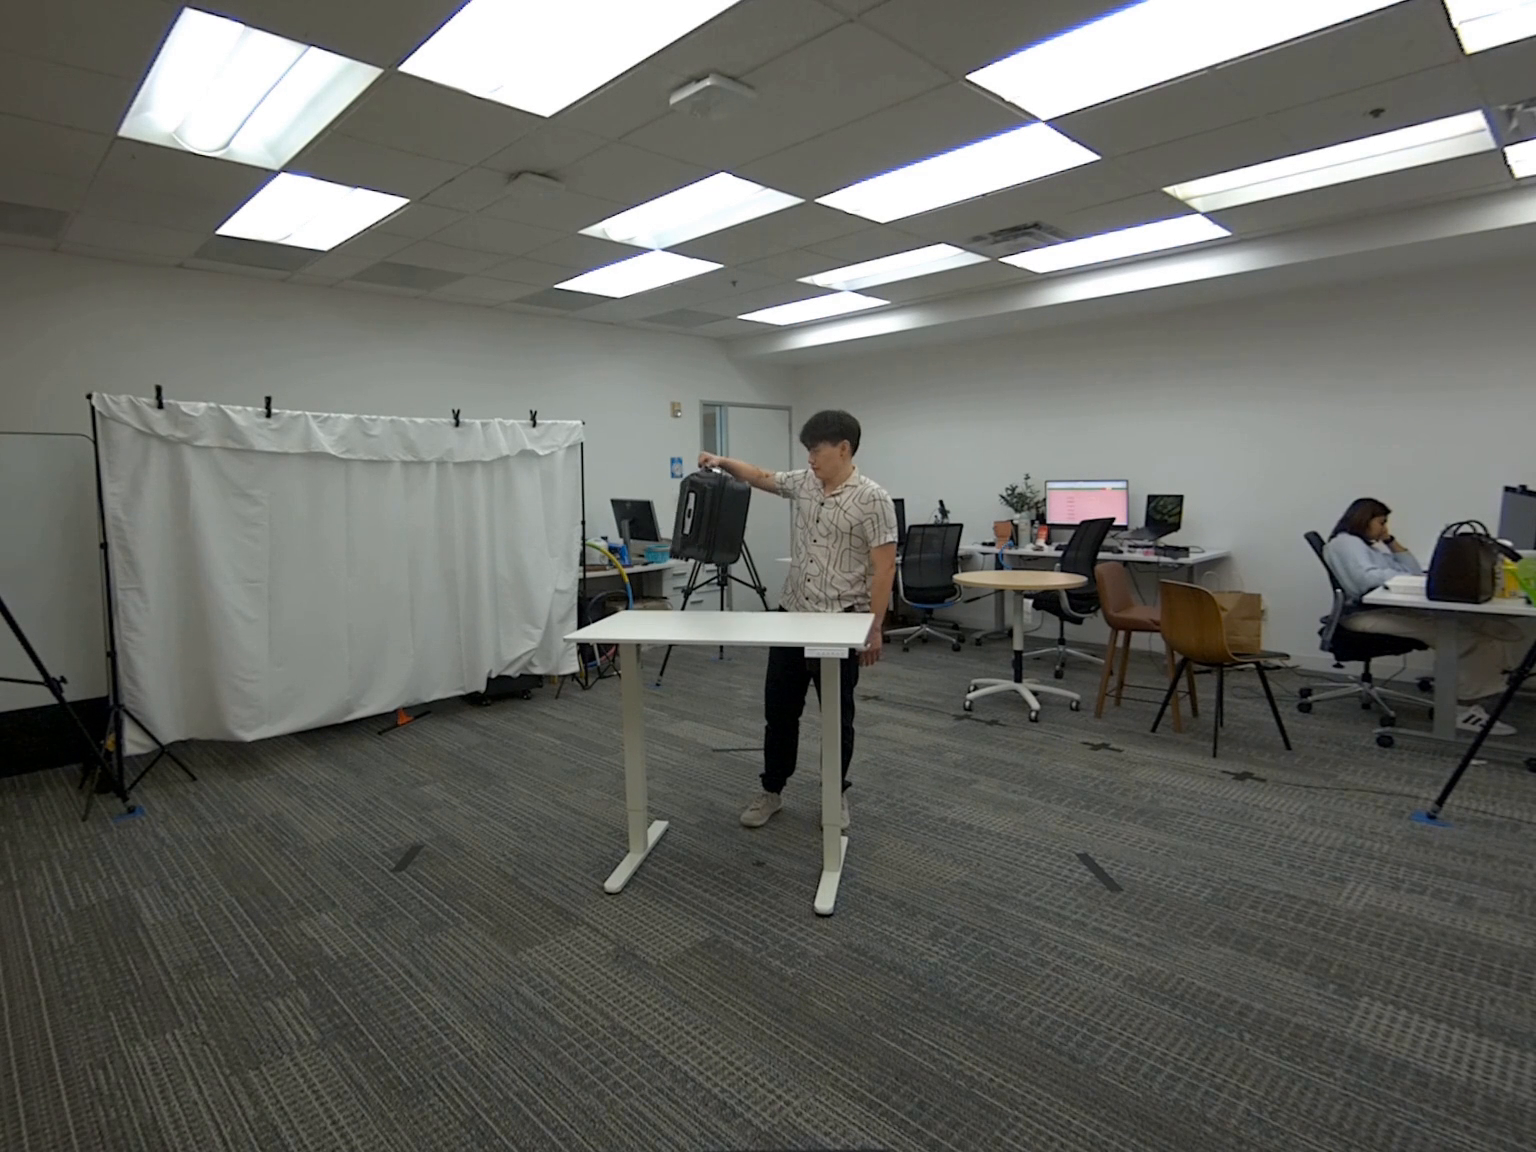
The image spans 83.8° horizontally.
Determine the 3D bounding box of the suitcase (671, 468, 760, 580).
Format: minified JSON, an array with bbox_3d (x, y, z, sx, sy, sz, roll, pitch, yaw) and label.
[{"bbox_3d":[-0.243,-0.239,3.547,0.246,0.375,0.554,9,1,-9],"label":"suitcase"}]
